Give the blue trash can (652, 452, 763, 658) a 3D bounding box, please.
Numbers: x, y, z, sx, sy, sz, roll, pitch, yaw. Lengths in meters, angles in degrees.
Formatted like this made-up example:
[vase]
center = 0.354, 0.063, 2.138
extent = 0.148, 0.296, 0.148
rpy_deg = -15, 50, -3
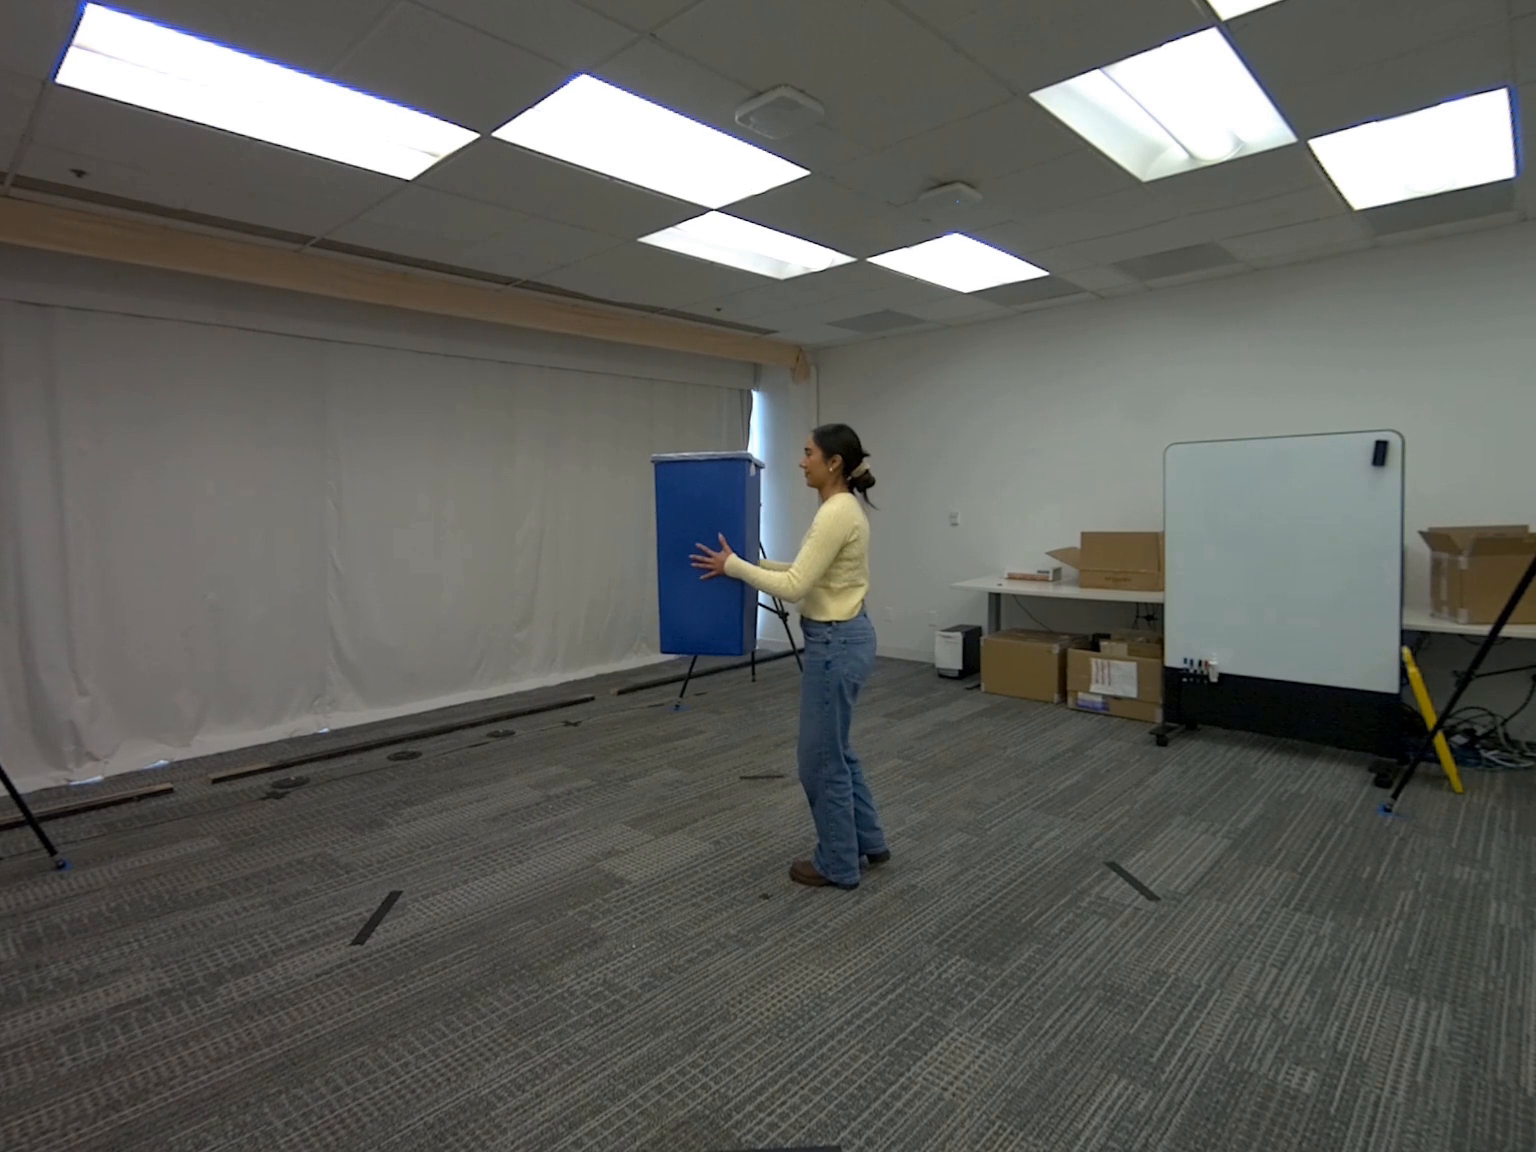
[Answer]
[blue trash can]
center = -0.209, -0.079, 3.124
extent = 0.379, 0.714, 0.373
rpy_deg = 0, -1, 11
